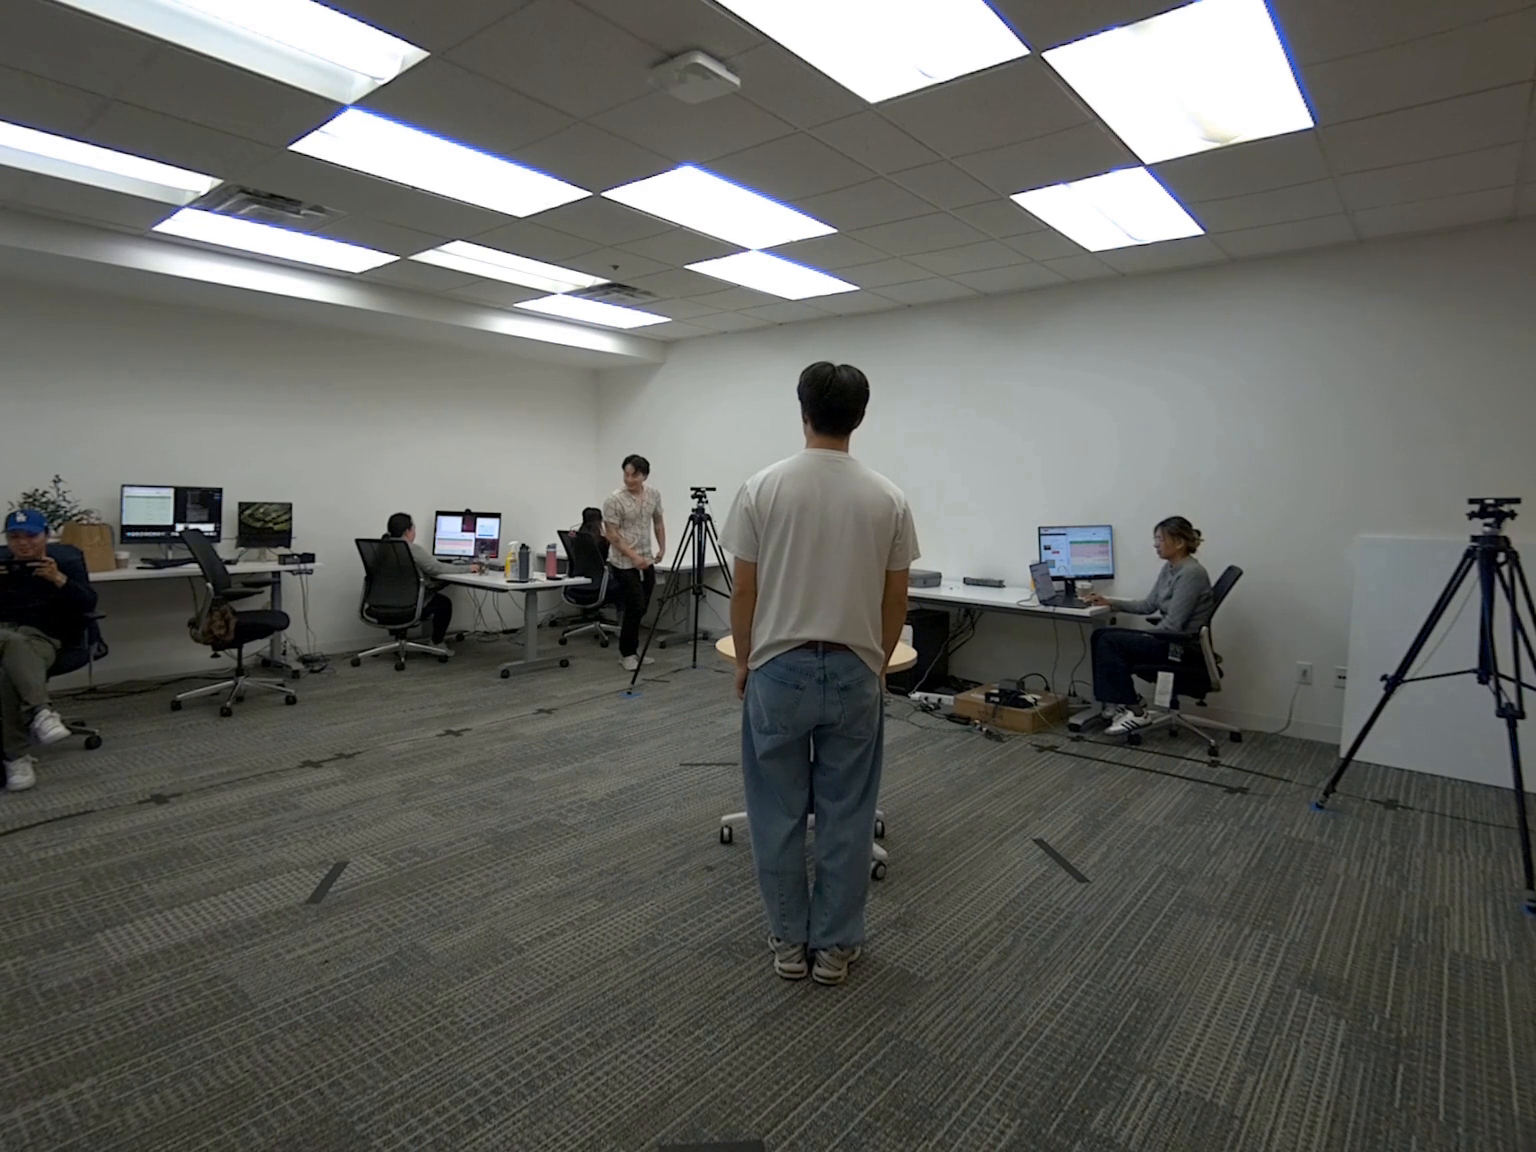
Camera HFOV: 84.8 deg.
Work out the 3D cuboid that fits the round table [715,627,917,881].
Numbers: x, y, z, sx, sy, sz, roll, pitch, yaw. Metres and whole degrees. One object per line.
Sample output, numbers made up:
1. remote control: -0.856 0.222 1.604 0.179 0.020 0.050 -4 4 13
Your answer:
1. round table: 0.146 0.656 3.296 0.784 0.784 0.789 1 5 -2
